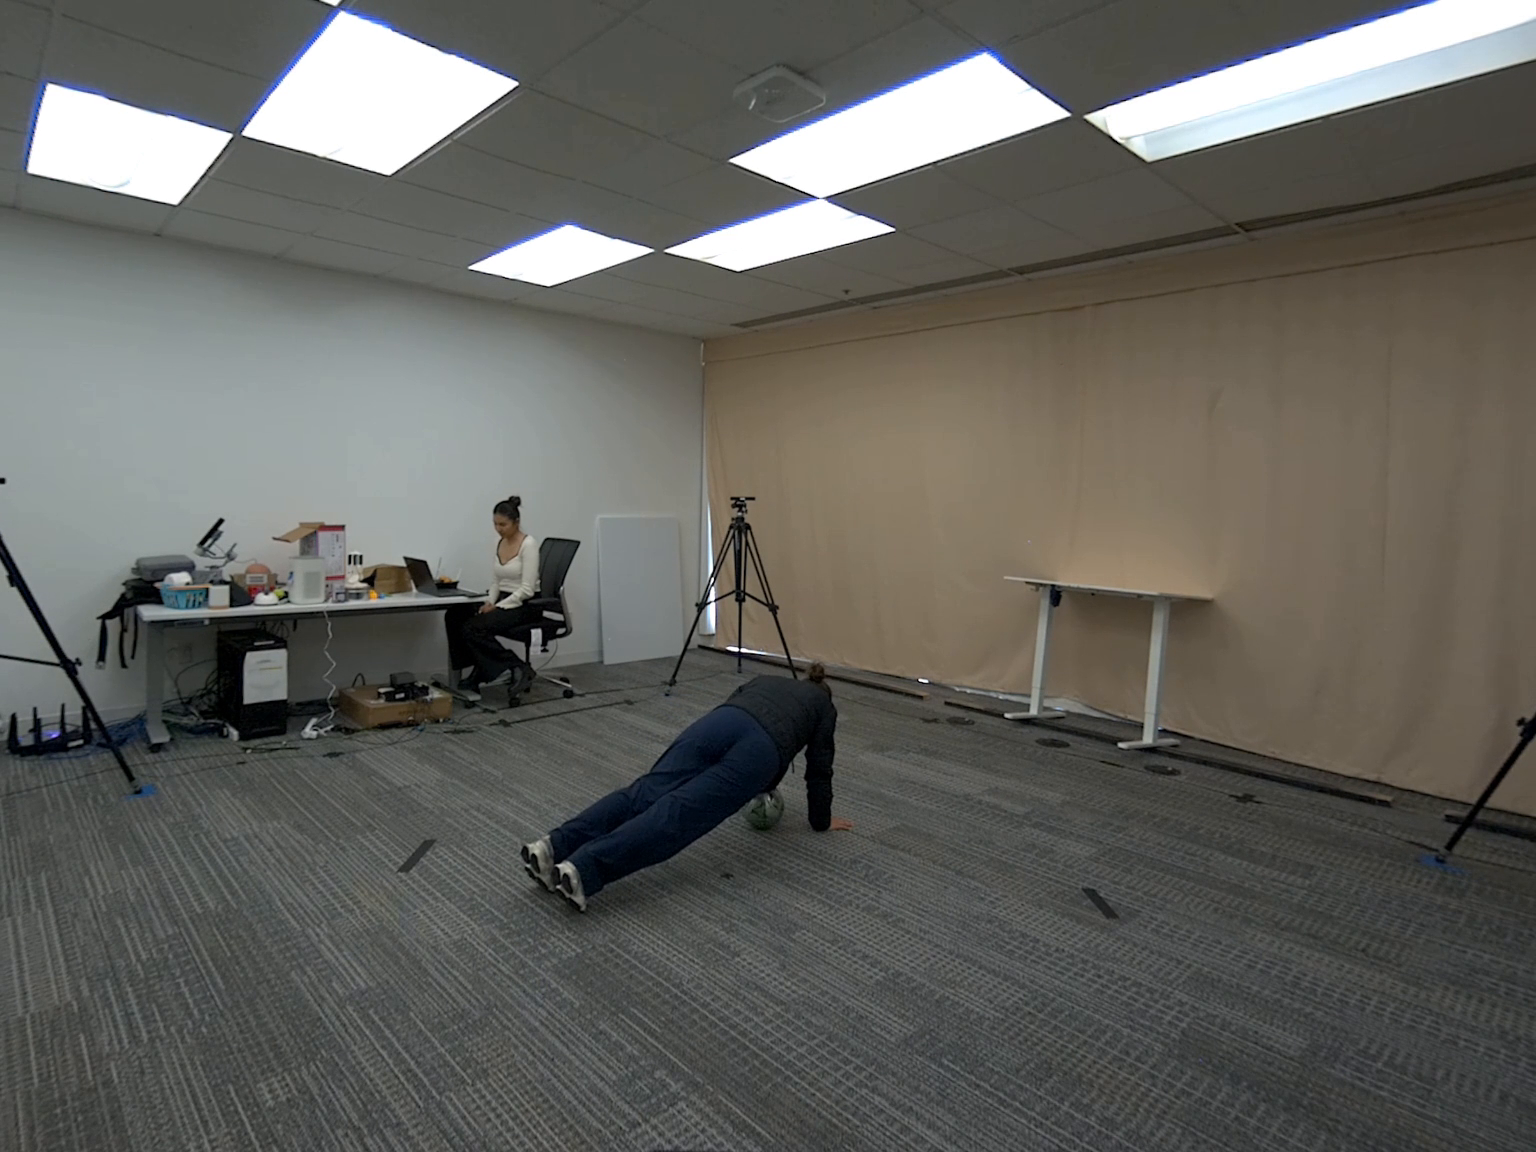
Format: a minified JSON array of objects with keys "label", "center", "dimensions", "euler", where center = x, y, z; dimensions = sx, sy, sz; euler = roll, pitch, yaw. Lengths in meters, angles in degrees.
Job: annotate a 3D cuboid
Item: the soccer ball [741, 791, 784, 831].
[{"label":"soccer ball","center":[-0.030,0.972,3.584],"dimensions":[0.187,0.187,0.188],"euler":[1,4,-1]}]
